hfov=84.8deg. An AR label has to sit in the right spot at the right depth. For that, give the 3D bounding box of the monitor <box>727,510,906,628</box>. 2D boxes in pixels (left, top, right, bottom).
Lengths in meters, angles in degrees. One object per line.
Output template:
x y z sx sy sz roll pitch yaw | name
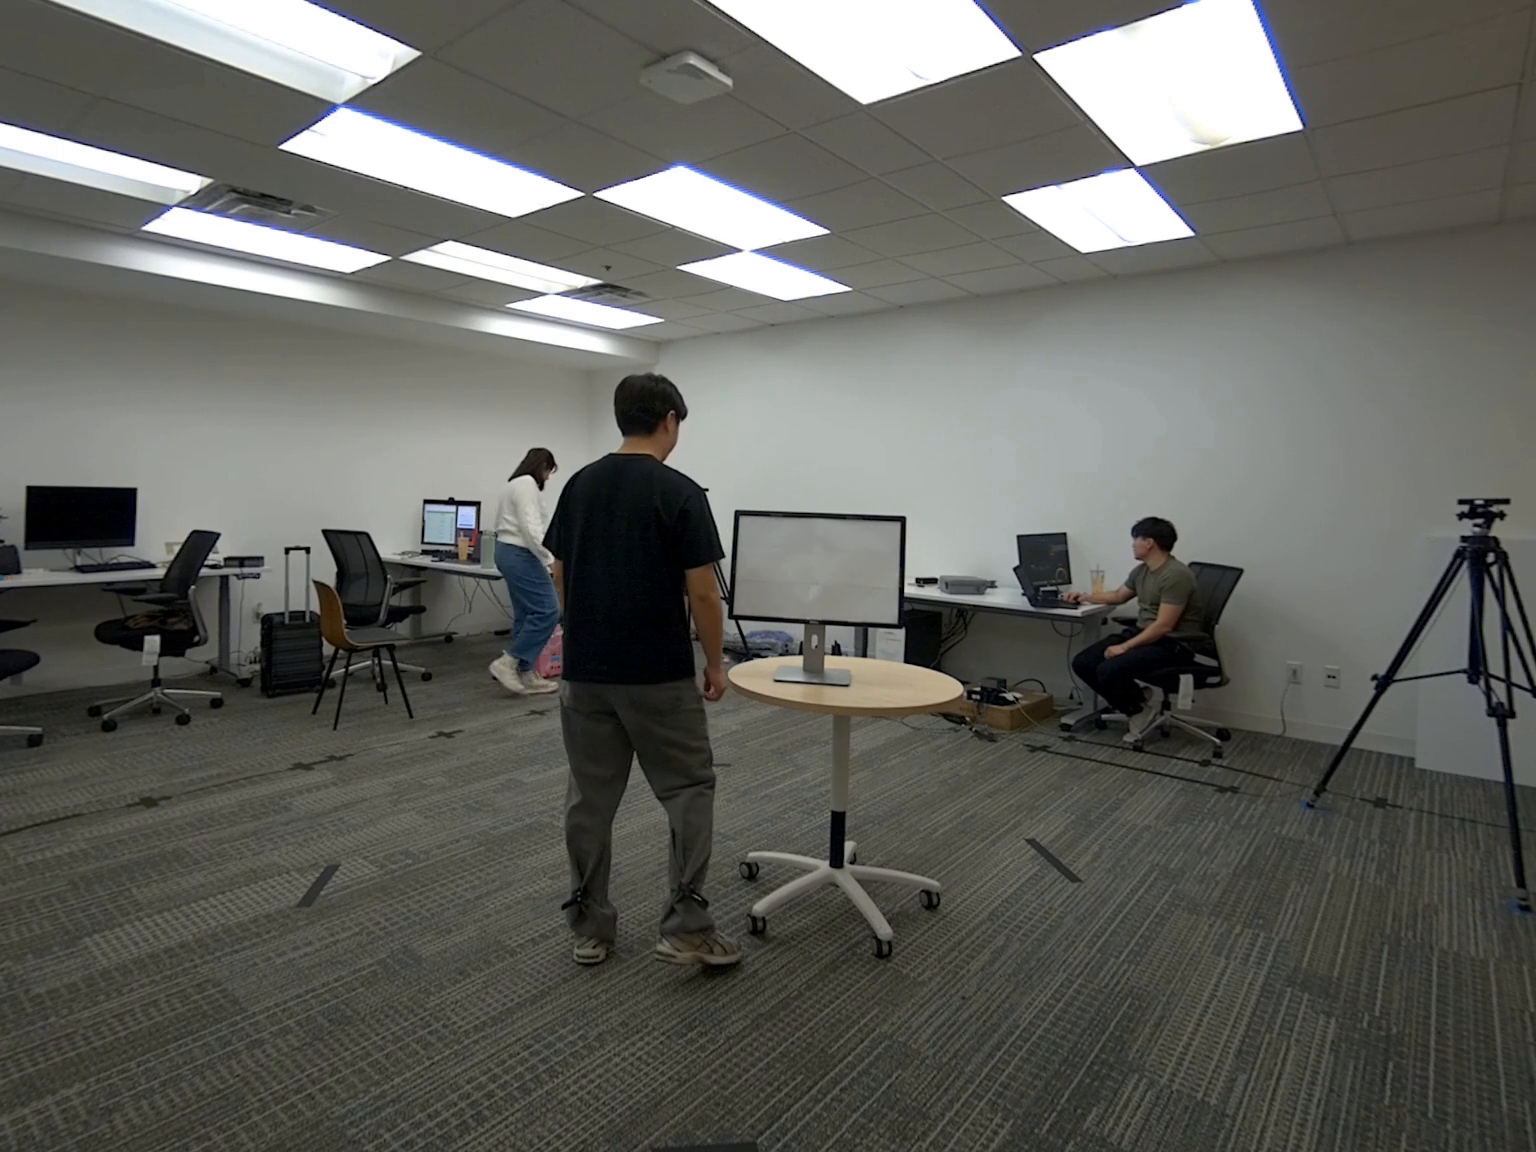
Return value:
0.152 0.074 2.779 0.568 0.563 0.221 2 5 10 | monitor
